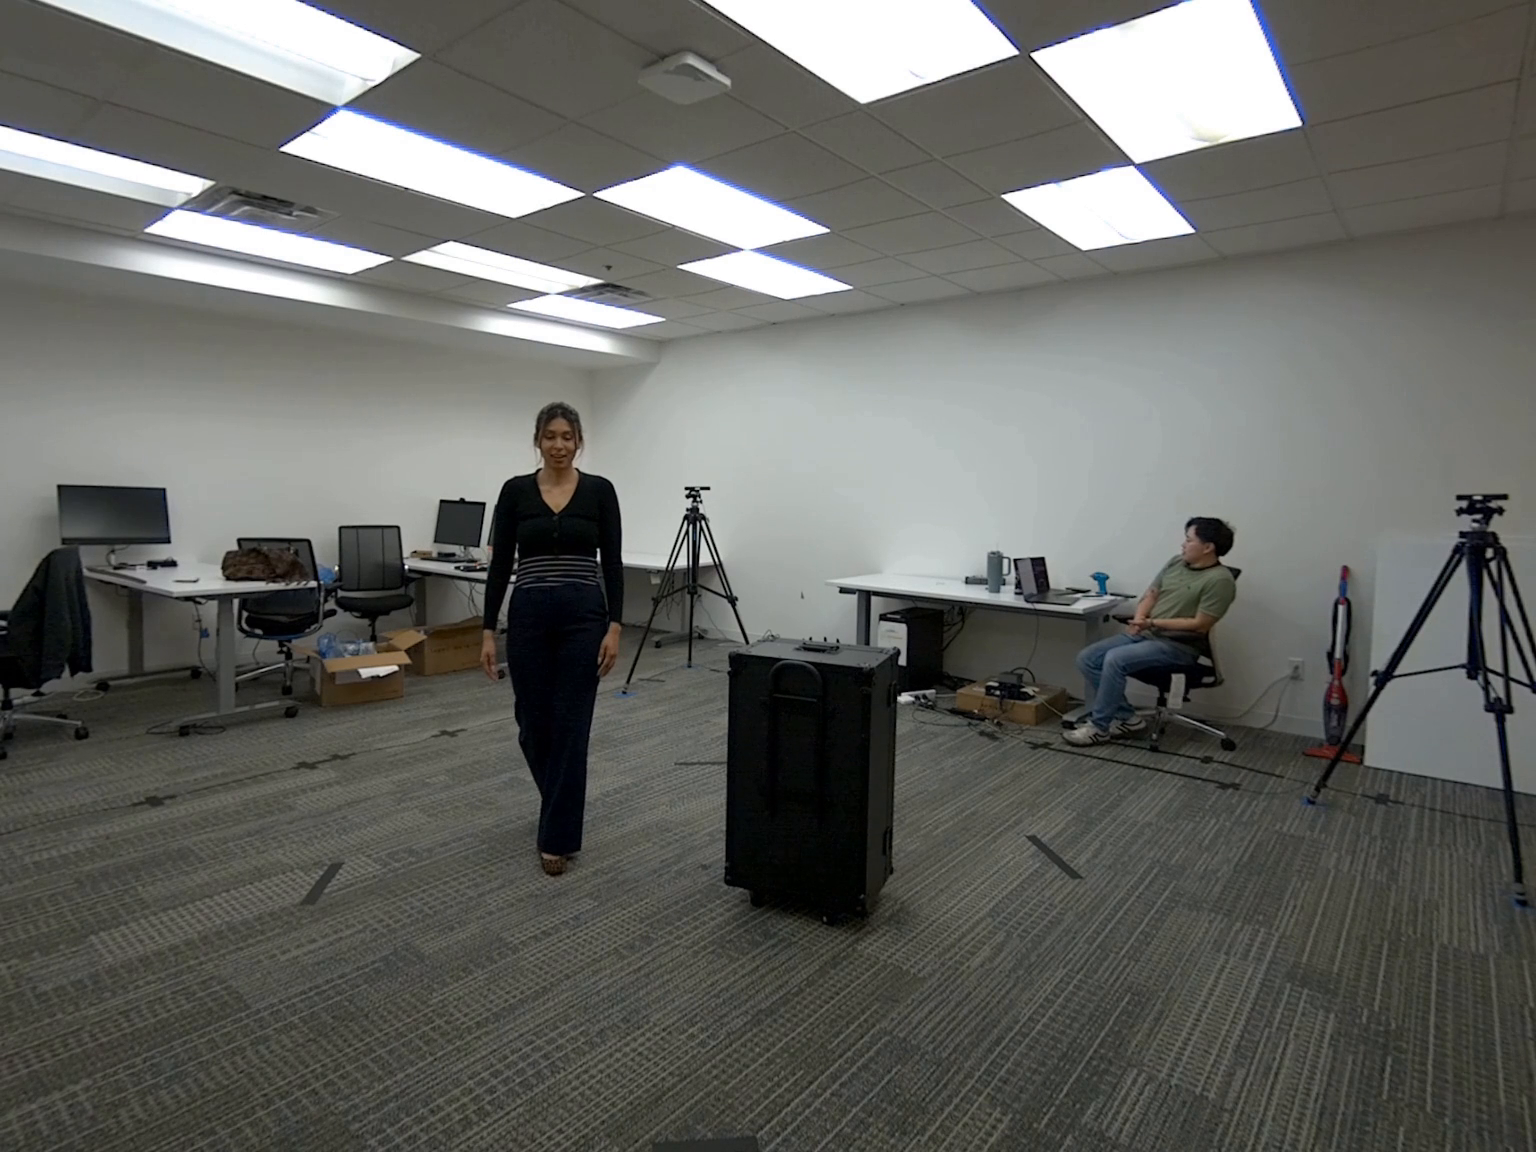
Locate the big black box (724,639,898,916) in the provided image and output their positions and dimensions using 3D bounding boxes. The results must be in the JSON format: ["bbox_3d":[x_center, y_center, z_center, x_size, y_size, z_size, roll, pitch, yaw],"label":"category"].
[{"bbox_3d":[0.146,0.673,2.852,0.535,0.858,0.388,3,5,24],"label":"big black box"}]
